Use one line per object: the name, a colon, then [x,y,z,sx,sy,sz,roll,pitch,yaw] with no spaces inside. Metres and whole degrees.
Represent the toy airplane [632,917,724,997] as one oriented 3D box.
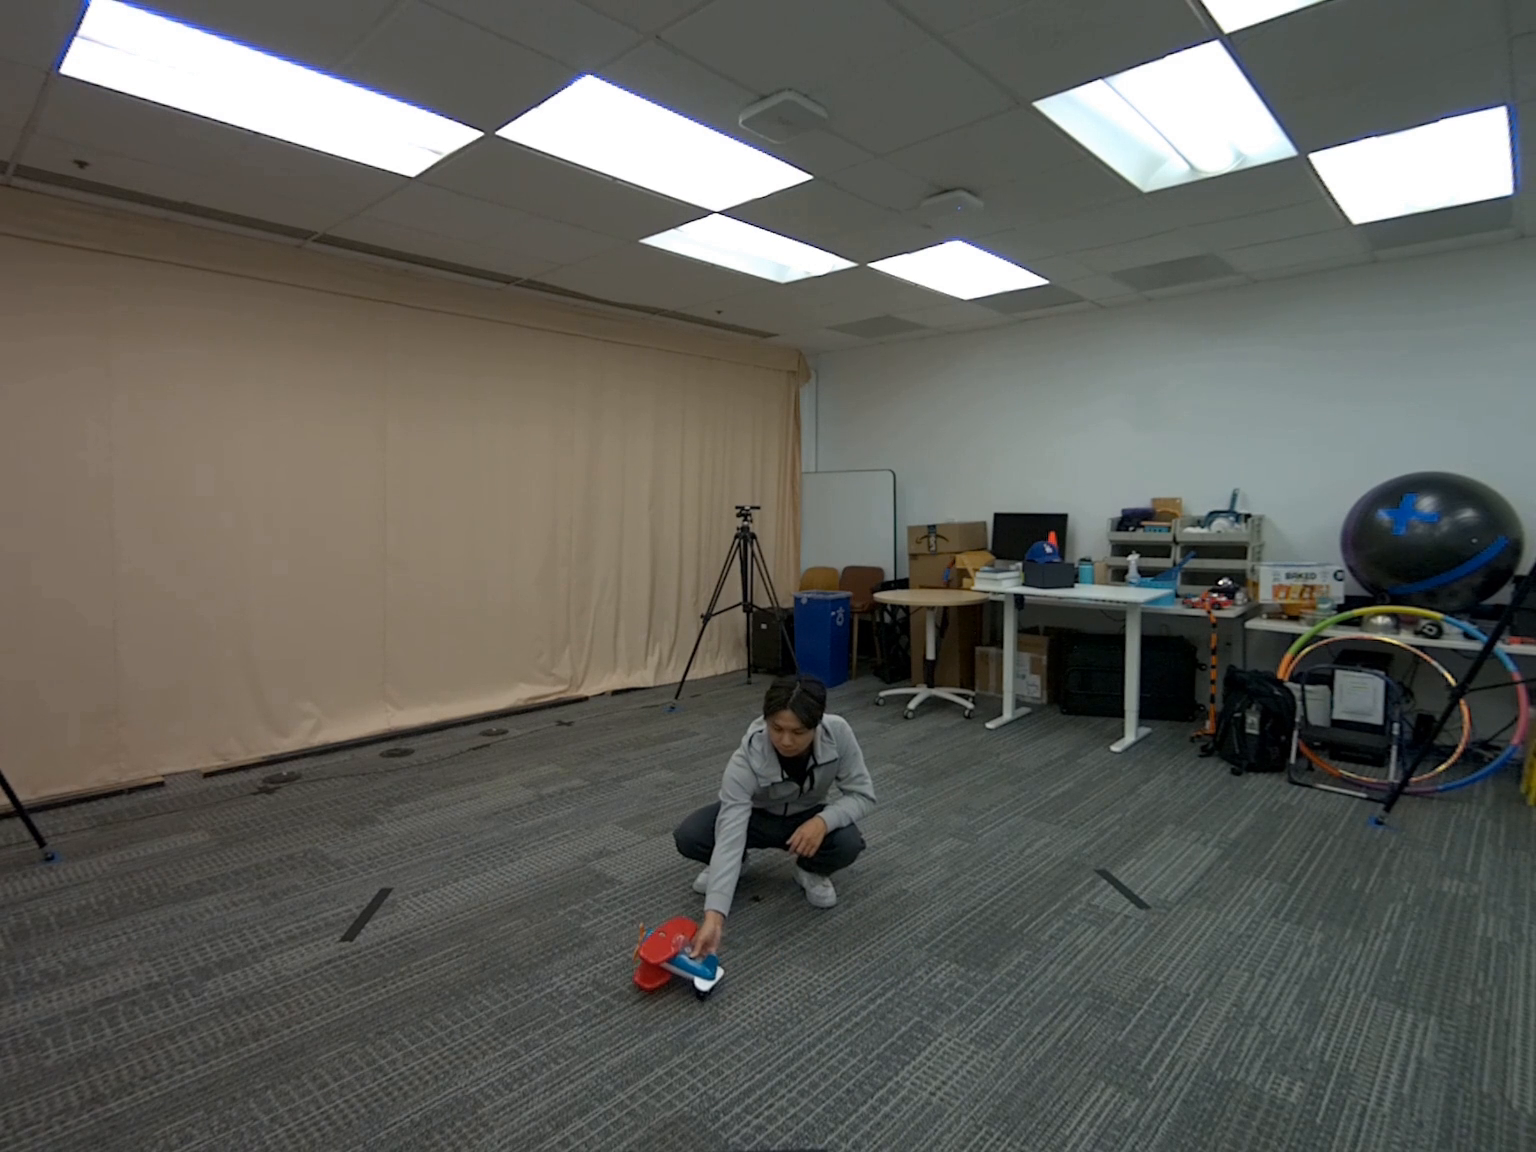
toy airplane: [-0.253,1.116,2.455,0.259,0.156,0.252,-2,4,-2]
